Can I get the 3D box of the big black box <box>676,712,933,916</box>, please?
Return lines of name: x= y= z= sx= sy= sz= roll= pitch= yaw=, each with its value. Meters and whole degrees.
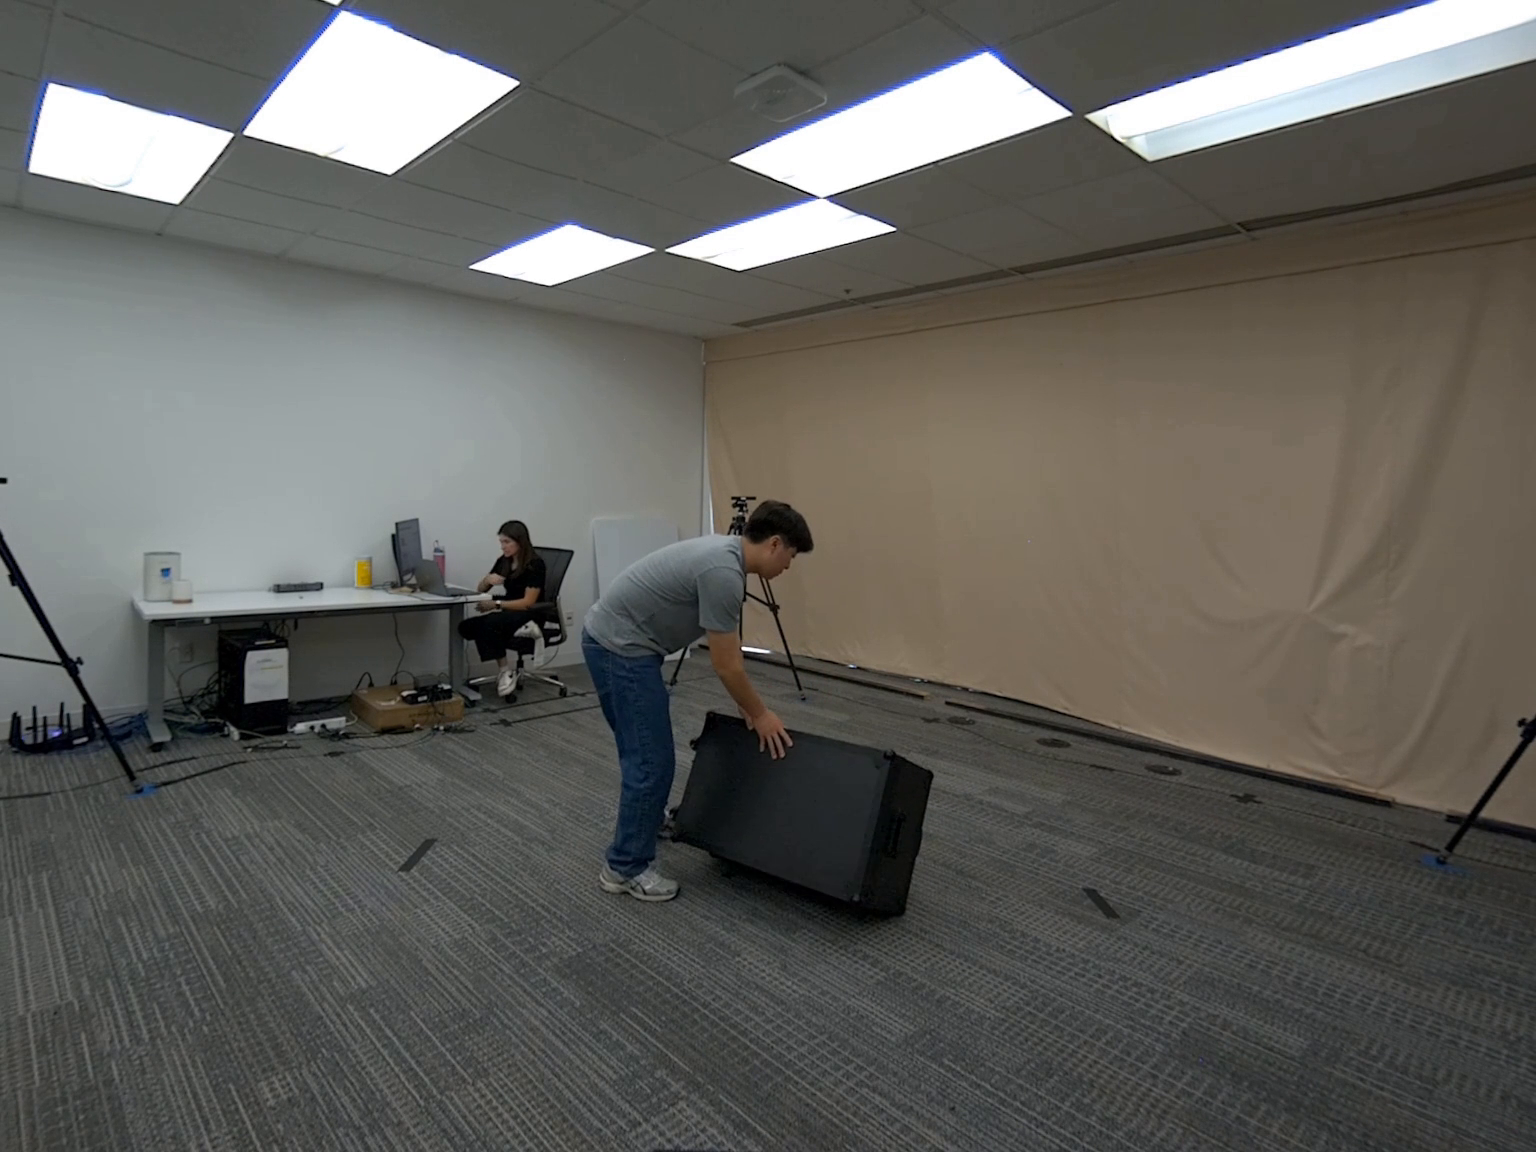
big black box: x=0.094 y=0.828 z=3.046 sx=0.883 sy=0.525 sz=0.384 roll=5 pitch=-20 yaw=37
